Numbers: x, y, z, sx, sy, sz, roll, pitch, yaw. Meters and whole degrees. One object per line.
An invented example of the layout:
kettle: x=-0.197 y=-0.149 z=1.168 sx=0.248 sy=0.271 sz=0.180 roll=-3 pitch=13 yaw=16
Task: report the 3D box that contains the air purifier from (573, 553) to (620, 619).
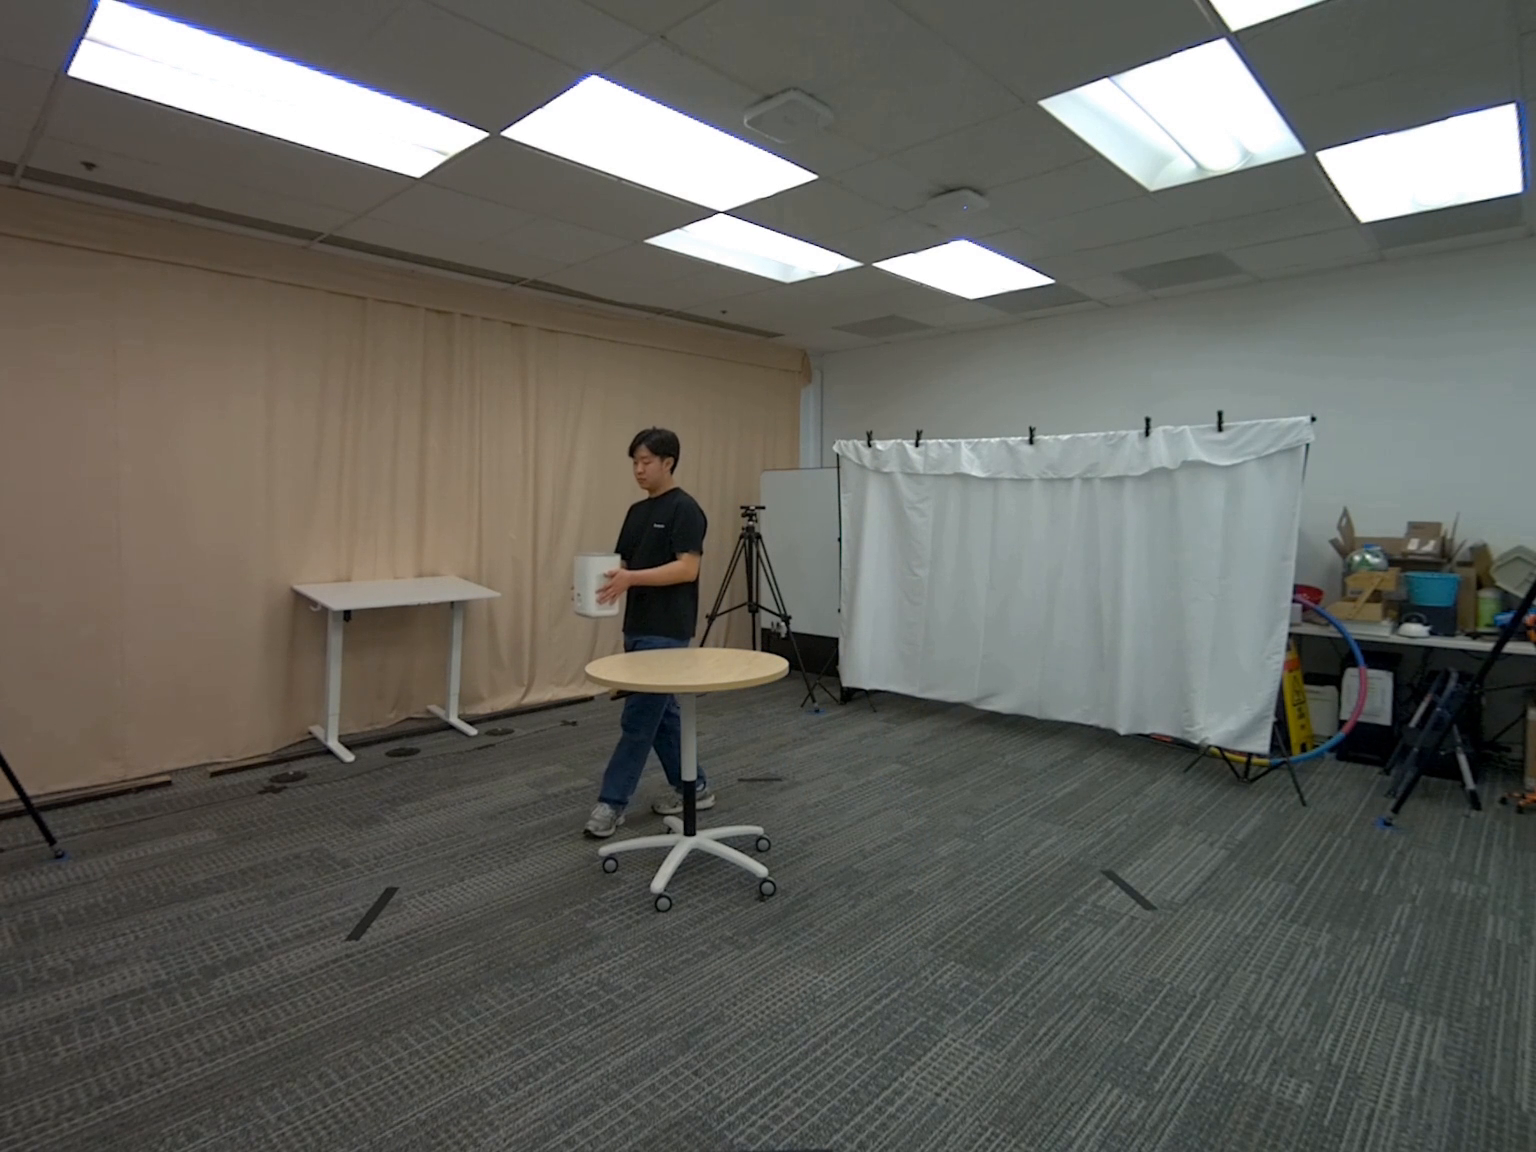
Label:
air purifier: x=-0.726 y=0.033 z=3.562 sx=0.166 sy=0.265 sz=0.177 roll=-1 pitch=5 yaw=-44
